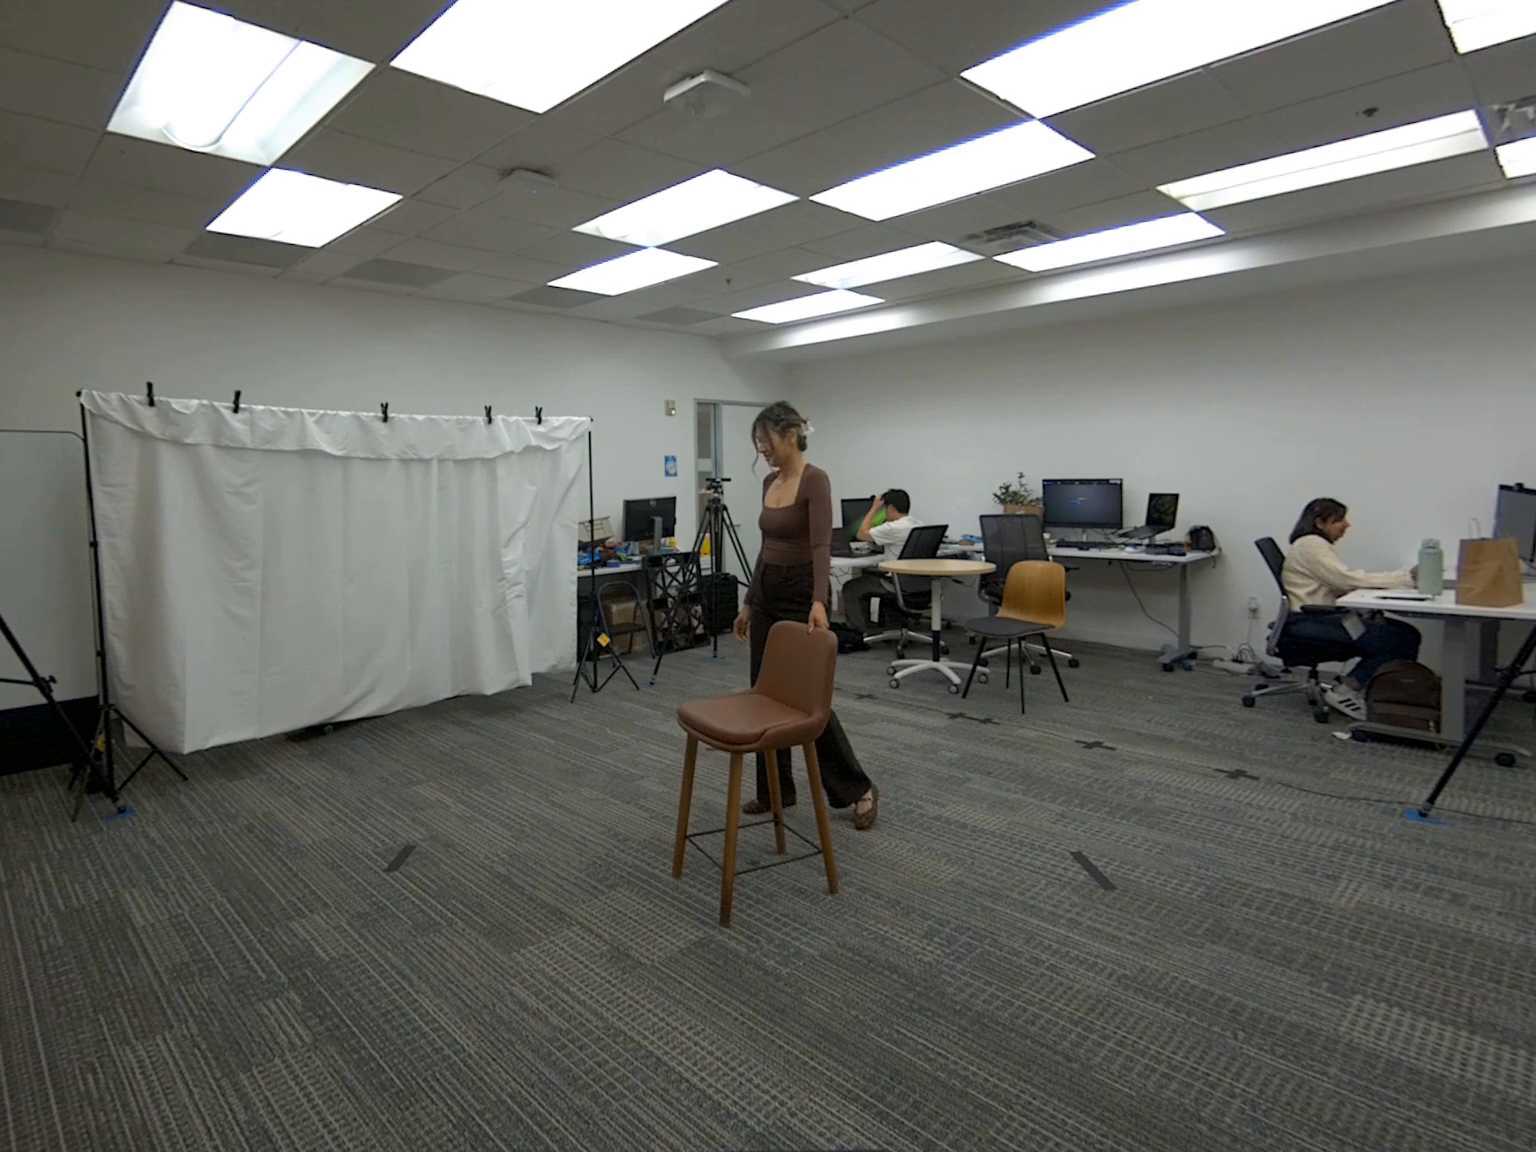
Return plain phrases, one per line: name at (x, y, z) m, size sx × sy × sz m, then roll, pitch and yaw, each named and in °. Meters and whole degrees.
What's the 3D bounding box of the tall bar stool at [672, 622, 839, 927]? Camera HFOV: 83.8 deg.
tall bar stool at (-0.046, 0.631, 2.919) m, size 0.457 × 0.887 × 0.469 m, roll -1°, pitch 4°, yaw -29°
